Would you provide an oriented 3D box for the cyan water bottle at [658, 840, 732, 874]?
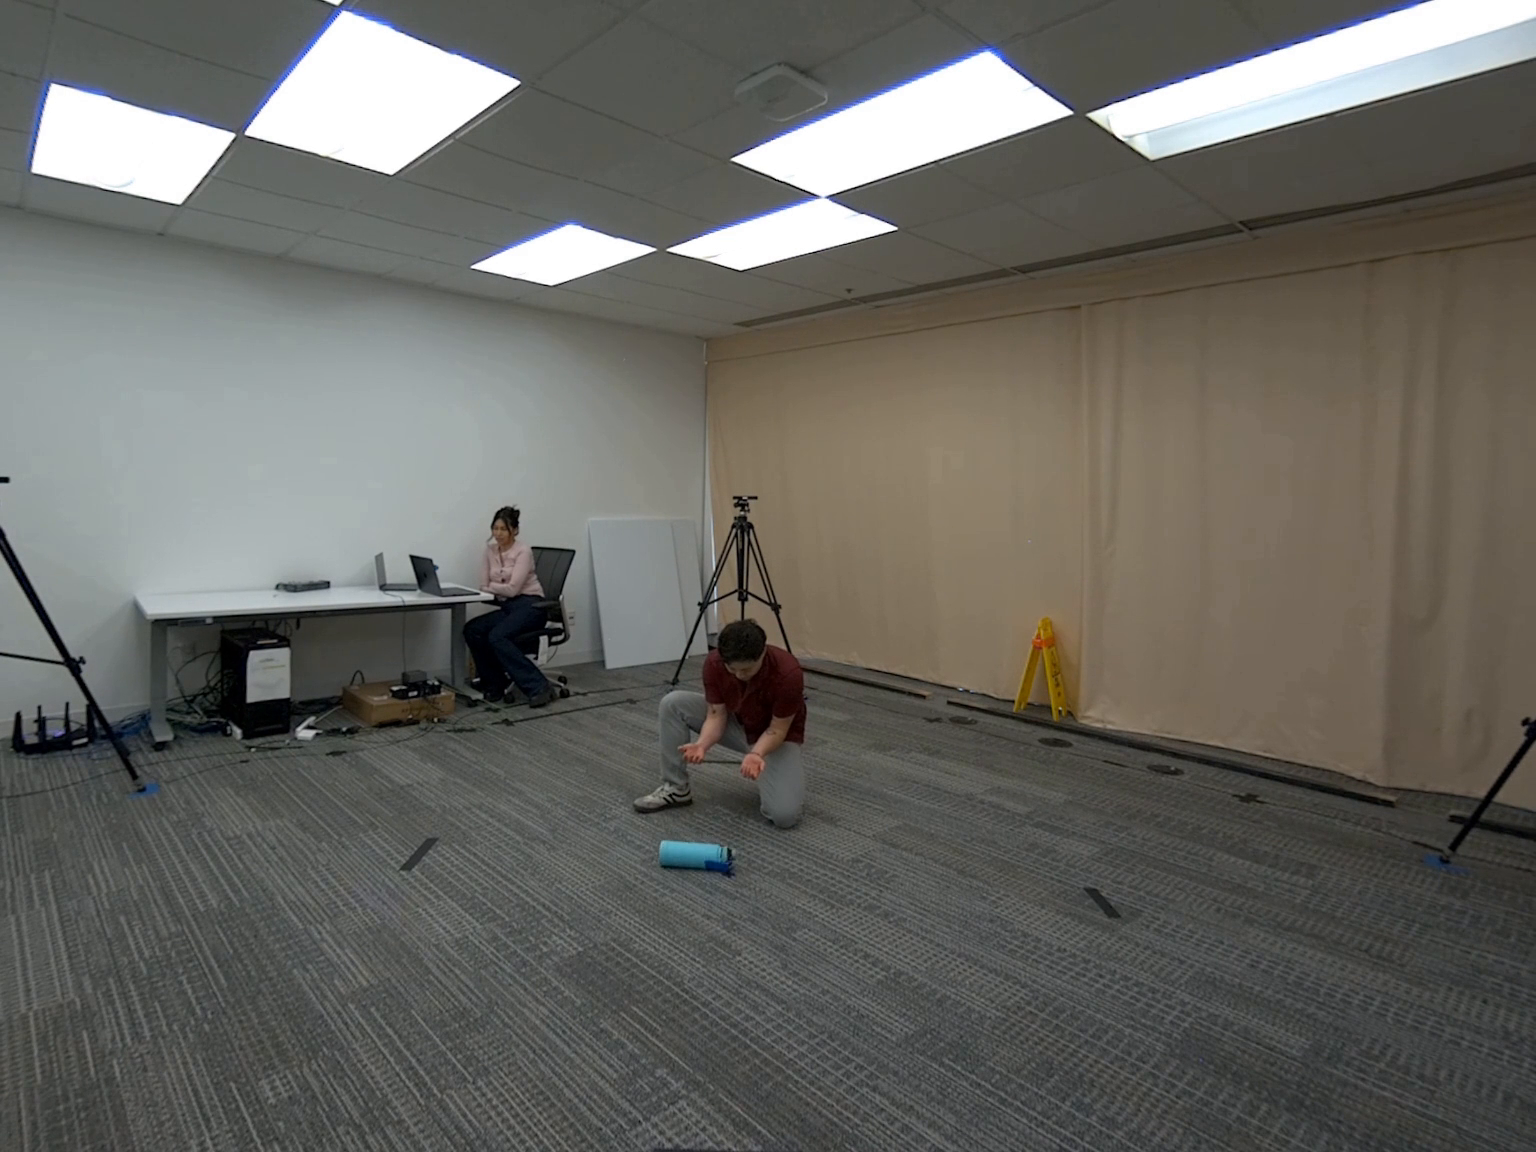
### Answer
[{"bbox_3d":[-0.277,1.048,3.158,0.285,0.092,0.092,5,5,6],"label":"cyan water bottle"}]
